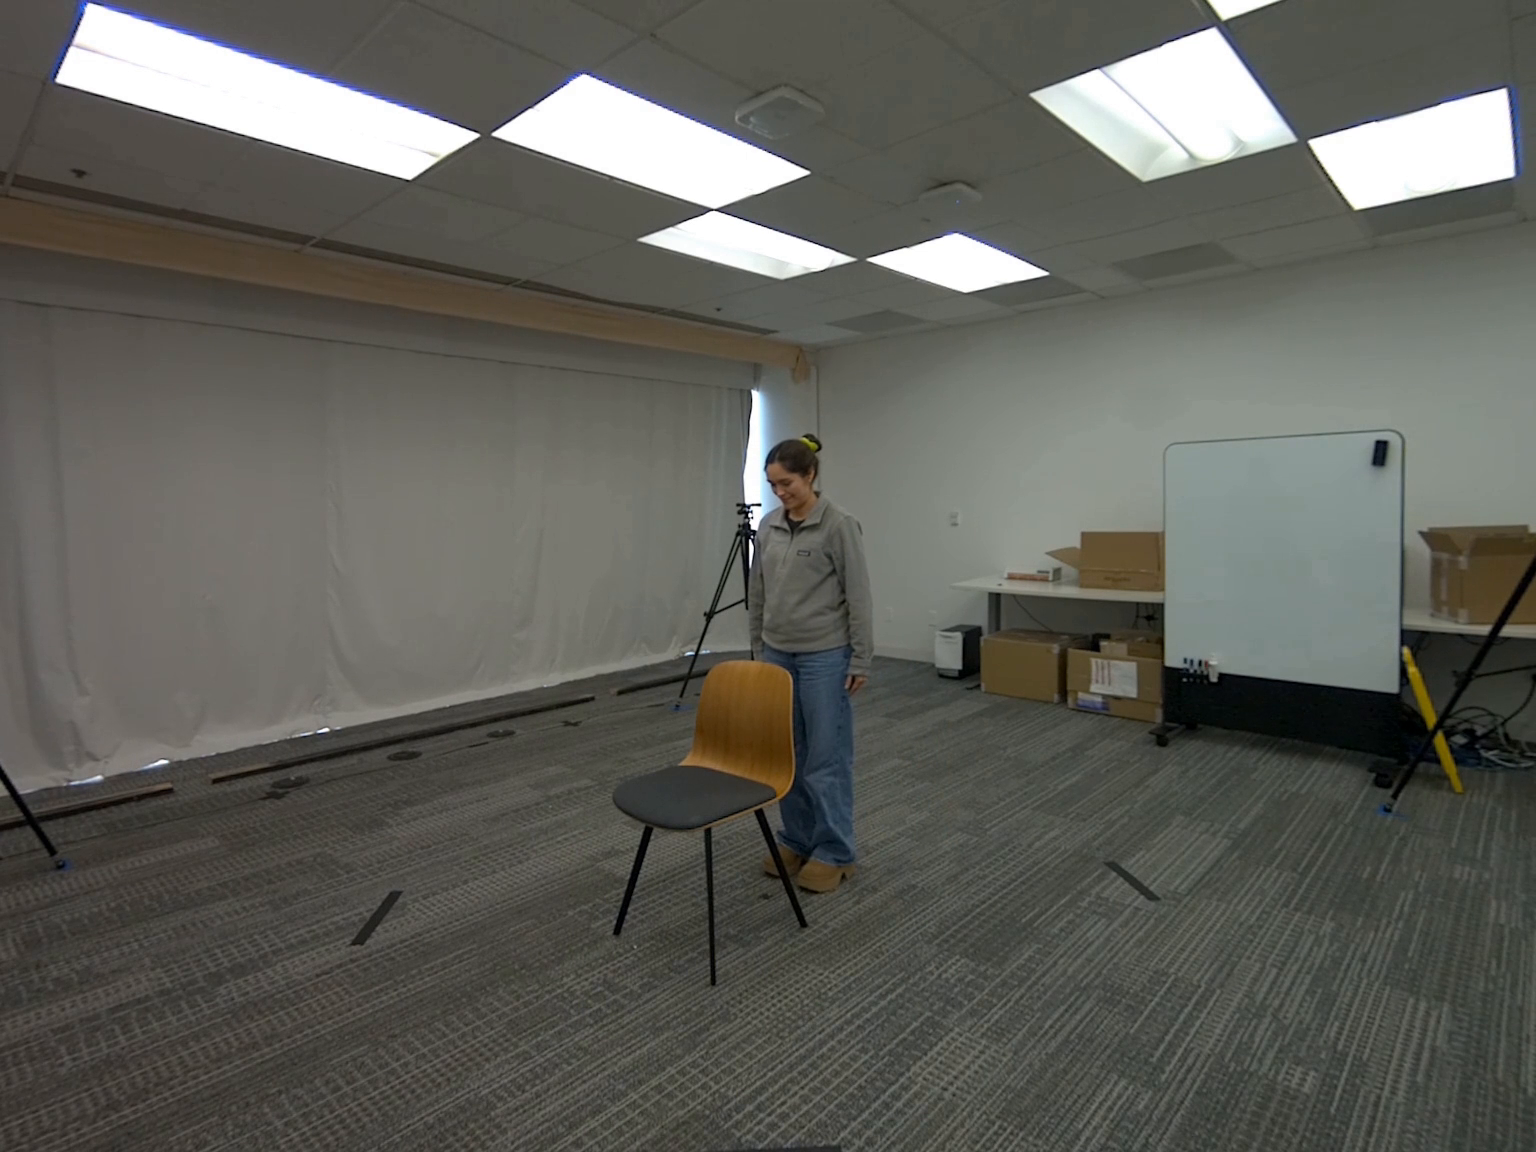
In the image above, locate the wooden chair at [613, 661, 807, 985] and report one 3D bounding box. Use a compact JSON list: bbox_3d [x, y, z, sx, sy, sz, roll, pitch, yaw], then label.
[{"bbox_3d":[-0.194,0.735,2.715,0.494,0.877,0.506,2,0,41],"label":"wooden chair"}]
